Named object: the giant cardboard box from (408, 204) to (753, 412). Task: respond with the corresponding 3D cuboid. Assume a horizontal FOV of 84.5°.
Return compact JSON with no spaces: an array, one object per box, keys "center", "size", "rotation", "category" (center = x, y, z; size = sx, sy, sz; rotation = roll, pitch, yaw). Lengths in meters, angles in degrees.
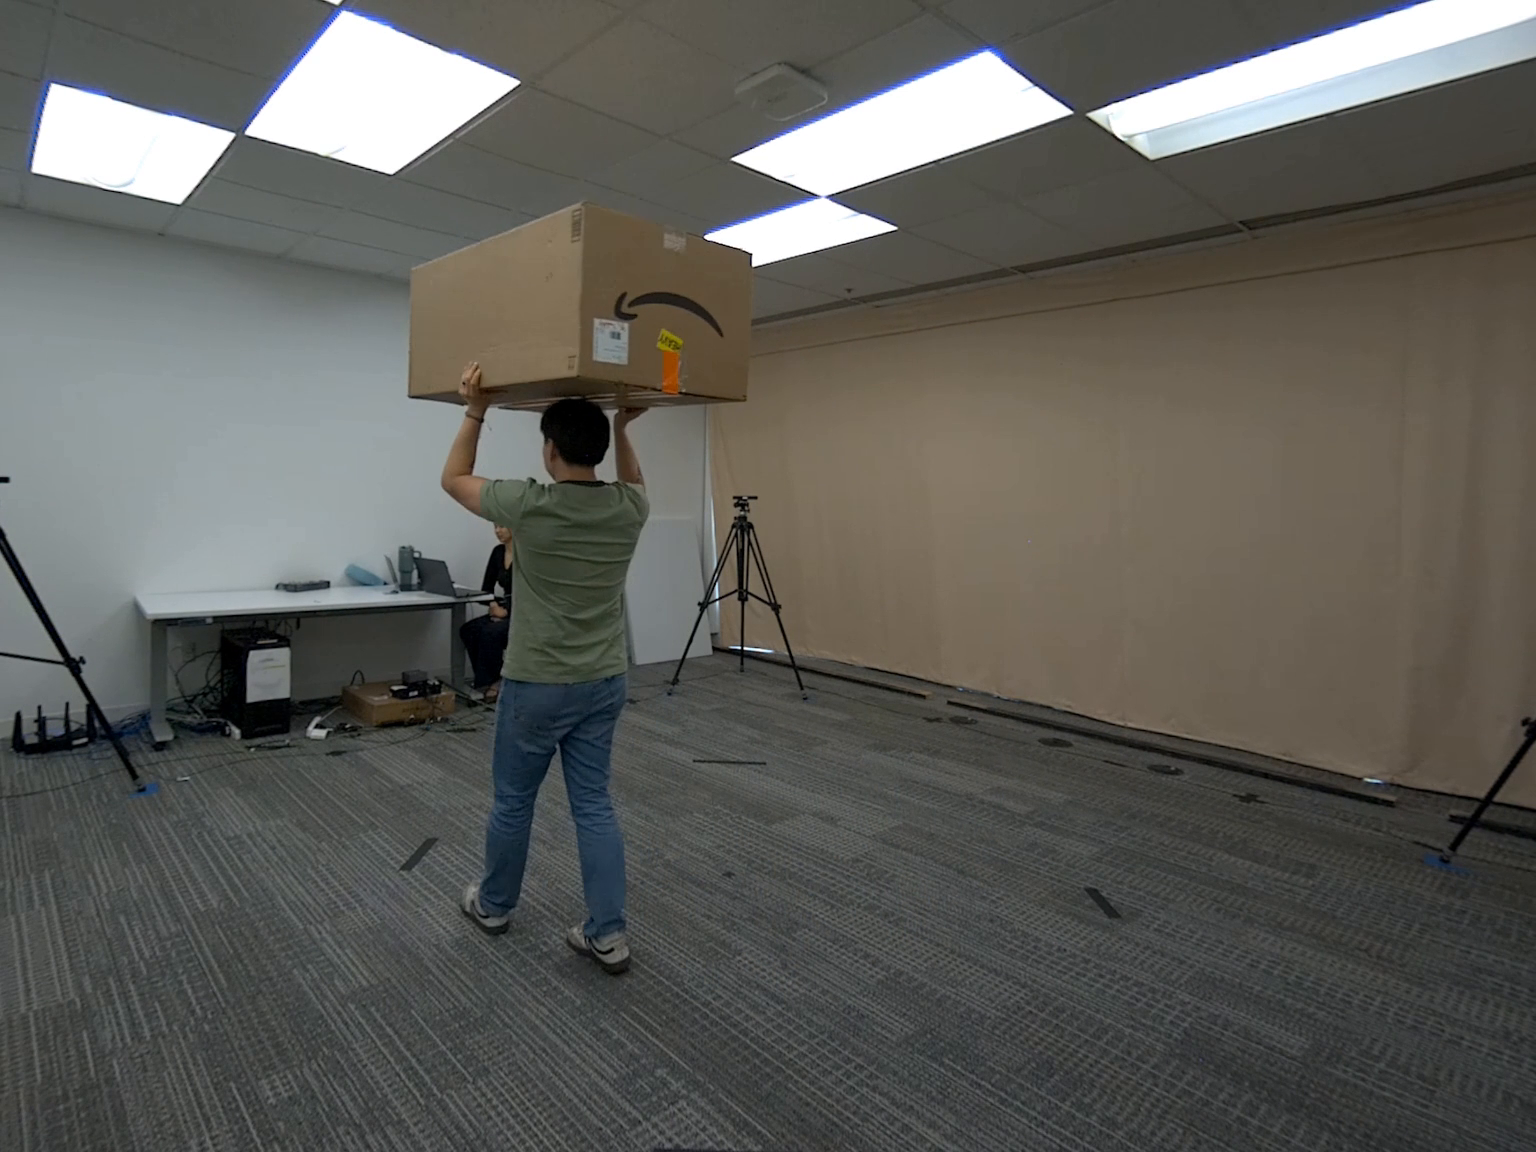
[{"center":[-0.616,-0.751,2.583],"size":[0.564,0.425,1.053],"rotation":[-3,8,-44],"category":"giant cardboard box"}]
